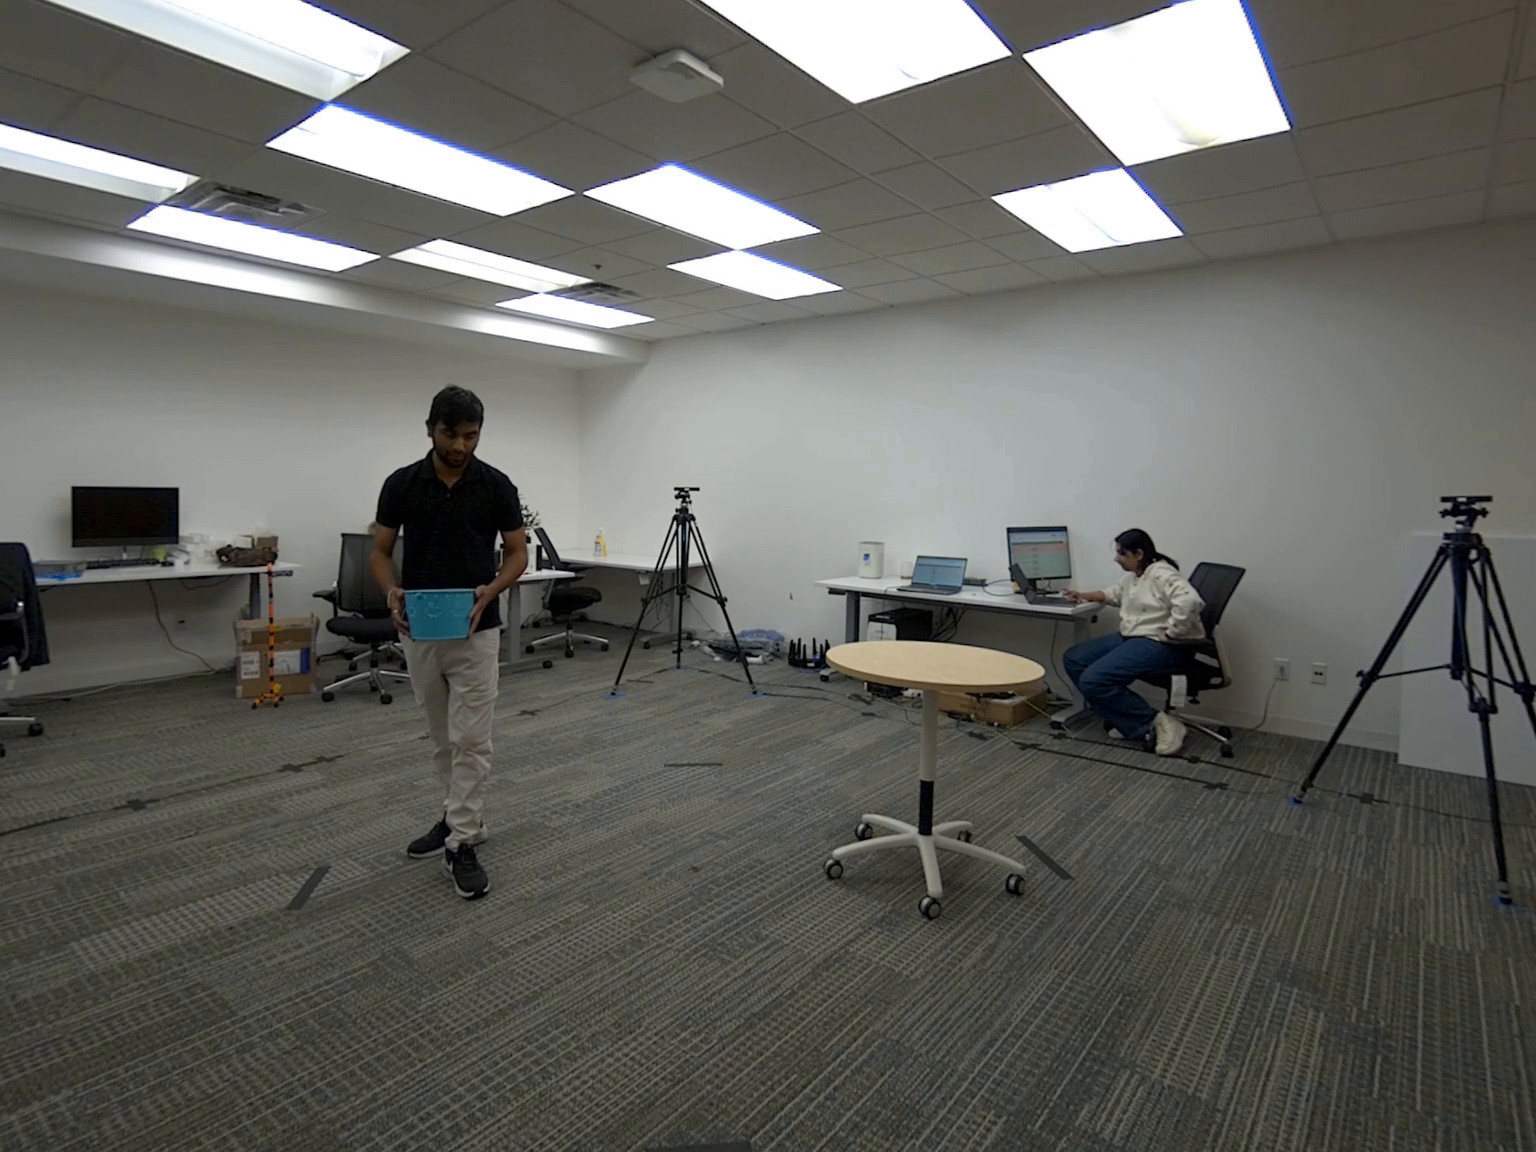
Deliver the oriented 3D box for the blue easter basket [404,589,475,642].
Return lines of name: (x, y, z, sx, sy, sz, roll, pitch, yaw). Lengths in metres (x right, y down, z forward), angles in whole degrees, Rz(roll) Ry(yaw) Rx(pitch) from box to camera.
blue easter basket: (-1.104, 0.116, 2.787, 0.243, 0.156, 0.244, 0, 0, -2)
